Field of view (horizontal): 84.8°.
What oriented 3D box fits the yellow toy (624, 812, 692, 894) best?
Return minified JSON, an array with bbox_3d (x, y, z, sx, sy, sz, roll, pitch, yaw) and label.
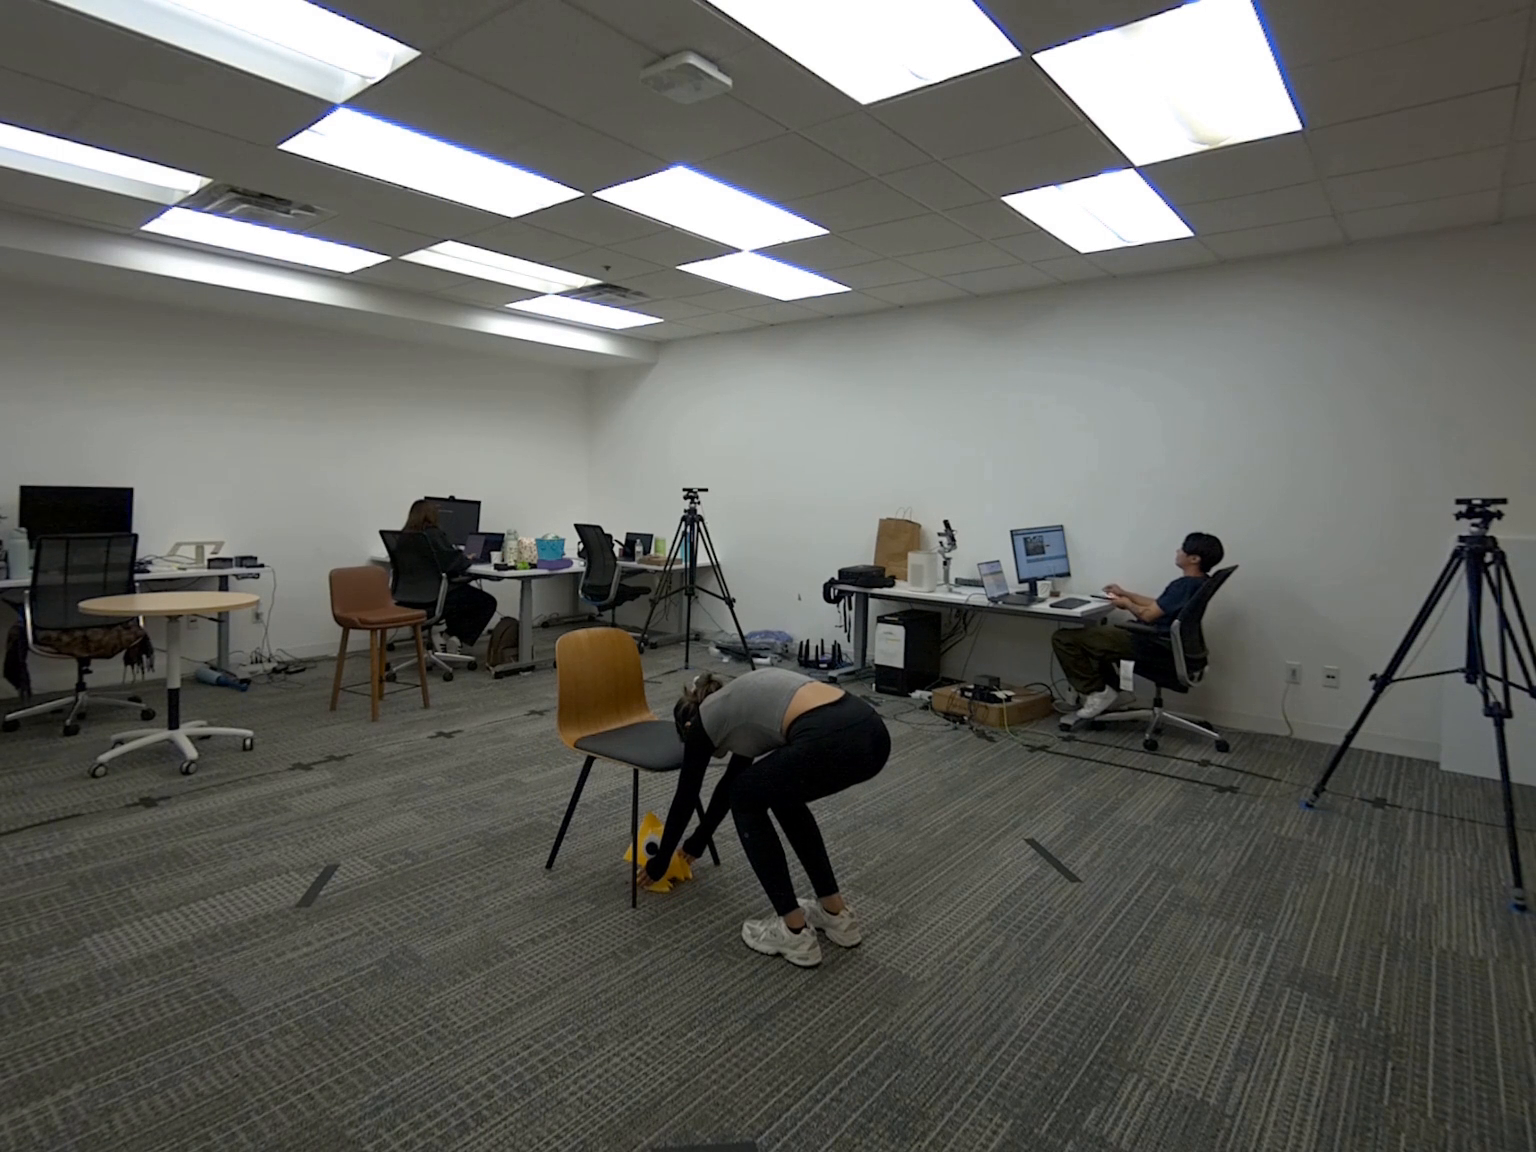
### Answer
[{"bbox_3d":[-0.388,0.961,3.032,0.199,0.230,0.199,2,4,36],"label":"yellow toy"}]
